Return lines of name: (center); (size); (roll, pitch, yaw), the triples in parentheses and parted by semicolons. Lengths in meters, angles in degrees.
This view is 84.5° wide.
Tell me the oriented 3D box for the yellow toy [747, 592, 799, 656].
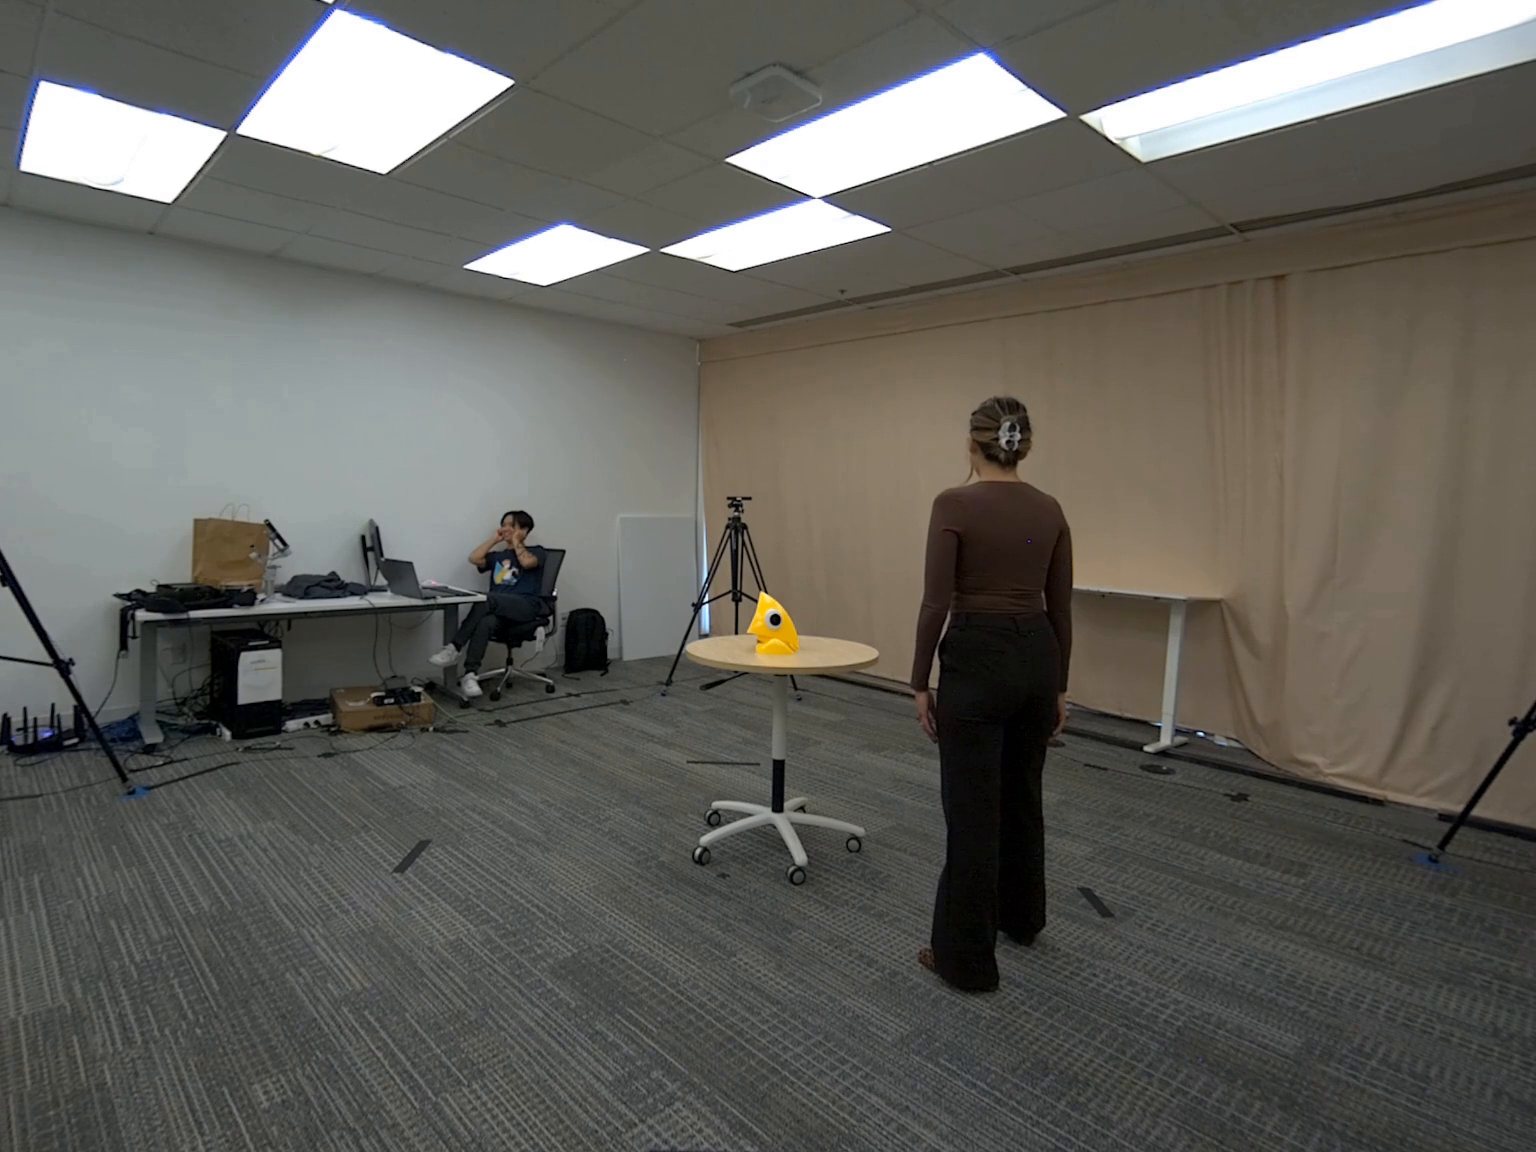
yellow toy: (0.023, 0.178, 3.321); (0.195, 0.230, 0.203); (2, 4, 13)
